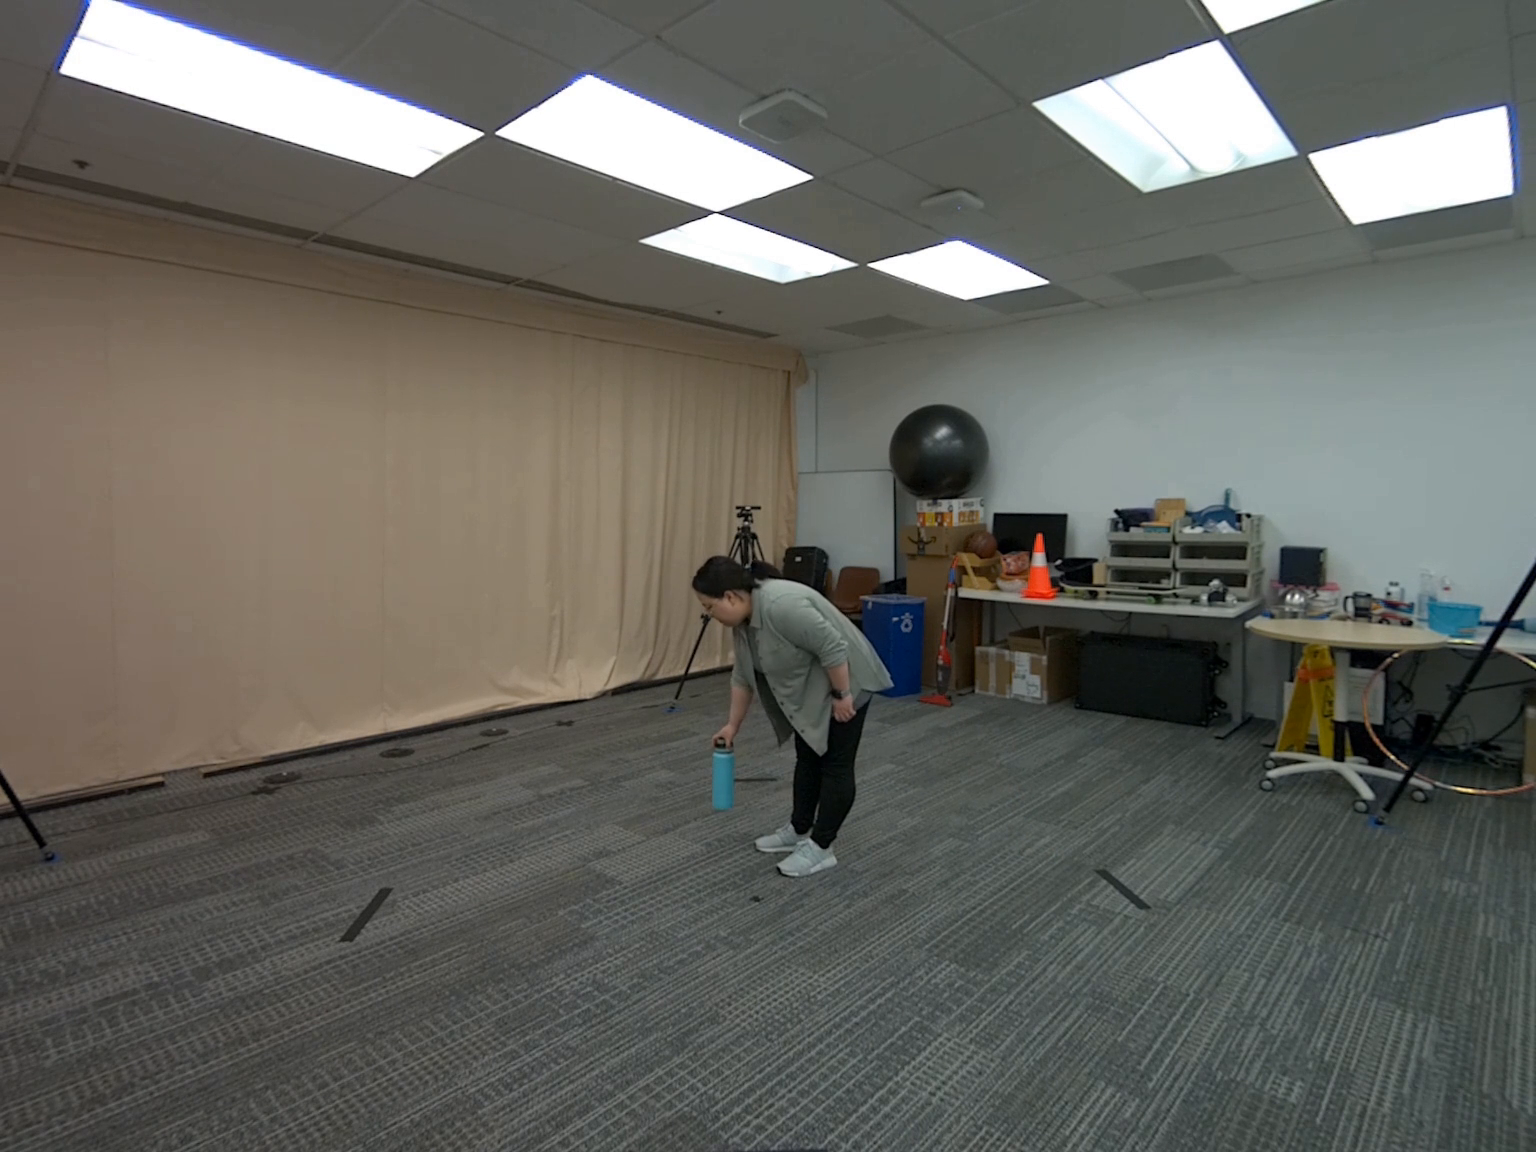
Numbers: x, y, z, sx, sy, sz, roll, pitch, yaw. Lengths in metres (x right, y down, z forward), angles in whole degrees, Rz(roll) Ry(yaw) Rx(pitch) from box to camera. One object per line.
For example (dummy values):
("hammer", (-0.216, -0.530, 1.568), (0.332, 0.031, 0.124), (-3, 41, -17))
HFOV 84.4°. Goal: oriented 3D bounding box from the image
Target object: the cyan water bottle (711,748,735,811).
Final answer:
("cyan water bottle", (-0.182, 0.812, 3.488), (0.092, 0.283, 0.092), (0, 2, -2))
